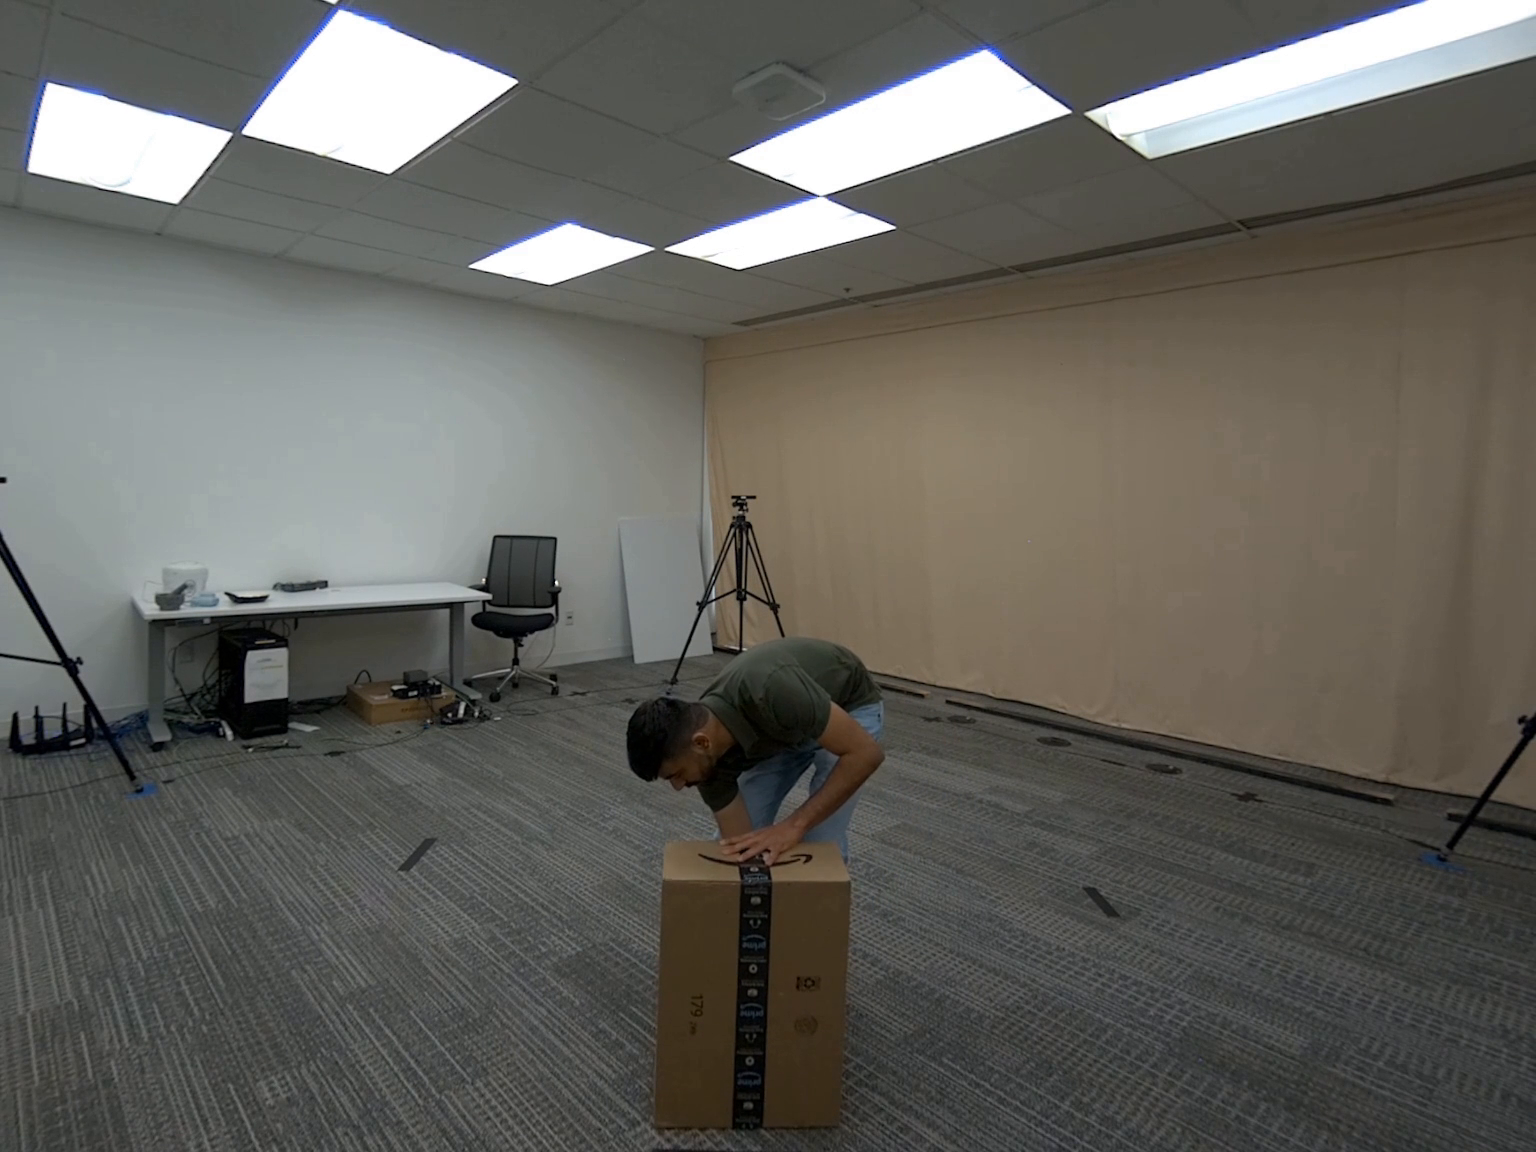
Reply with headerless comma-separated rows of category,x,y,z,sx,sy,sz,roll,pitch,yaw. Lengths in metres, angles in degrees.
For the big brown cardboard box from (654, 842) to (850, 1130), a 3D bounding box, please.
big brown cardboard box,-0.051,0.937,1.939,0.417,0.587,0.234,2,4,-3
